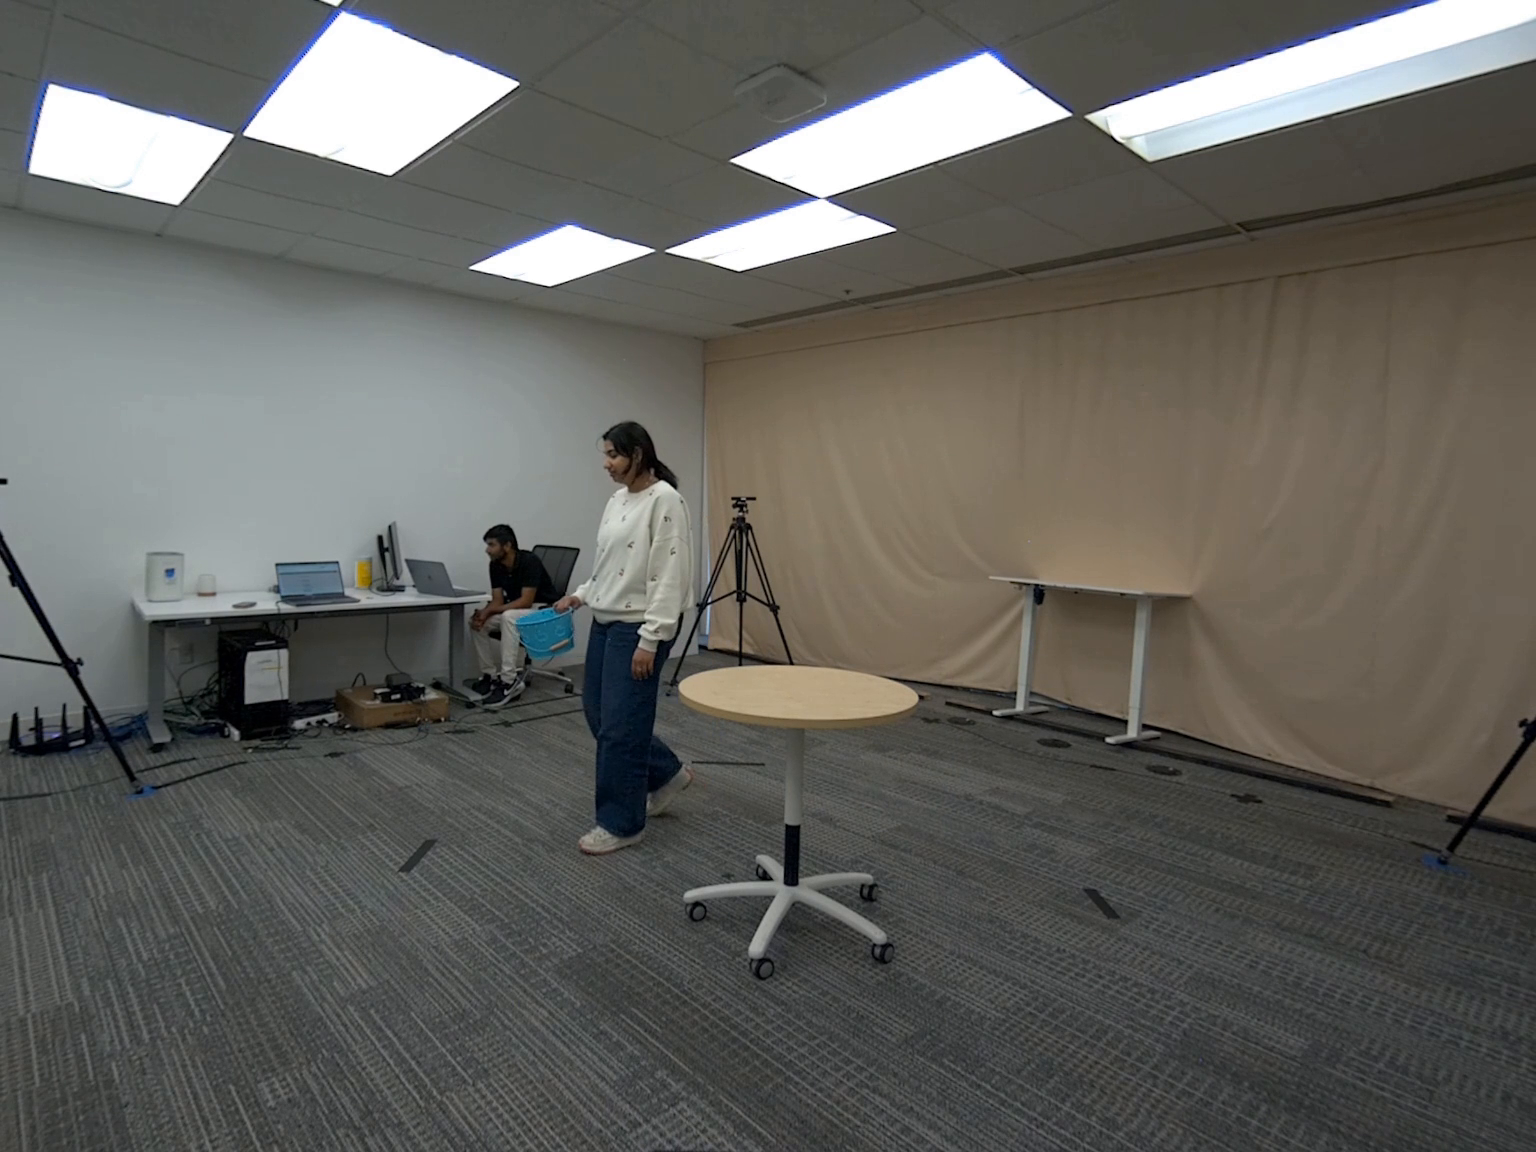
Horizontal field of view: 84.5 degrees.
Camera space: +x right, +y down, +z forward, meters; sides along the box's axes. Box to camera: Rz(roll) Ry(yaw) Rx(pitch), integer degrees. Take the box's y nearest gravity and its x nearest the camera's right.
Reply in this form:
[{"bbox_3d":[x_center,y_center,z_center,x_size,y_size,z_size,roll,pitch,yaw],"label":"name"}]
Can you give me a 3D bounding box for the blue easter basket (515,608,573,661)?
[{"bbox_3d":[-0.874,0.225,3.314,0.243,0.155,0.245,-11,8,0],"label":"blue easter basket"}]
